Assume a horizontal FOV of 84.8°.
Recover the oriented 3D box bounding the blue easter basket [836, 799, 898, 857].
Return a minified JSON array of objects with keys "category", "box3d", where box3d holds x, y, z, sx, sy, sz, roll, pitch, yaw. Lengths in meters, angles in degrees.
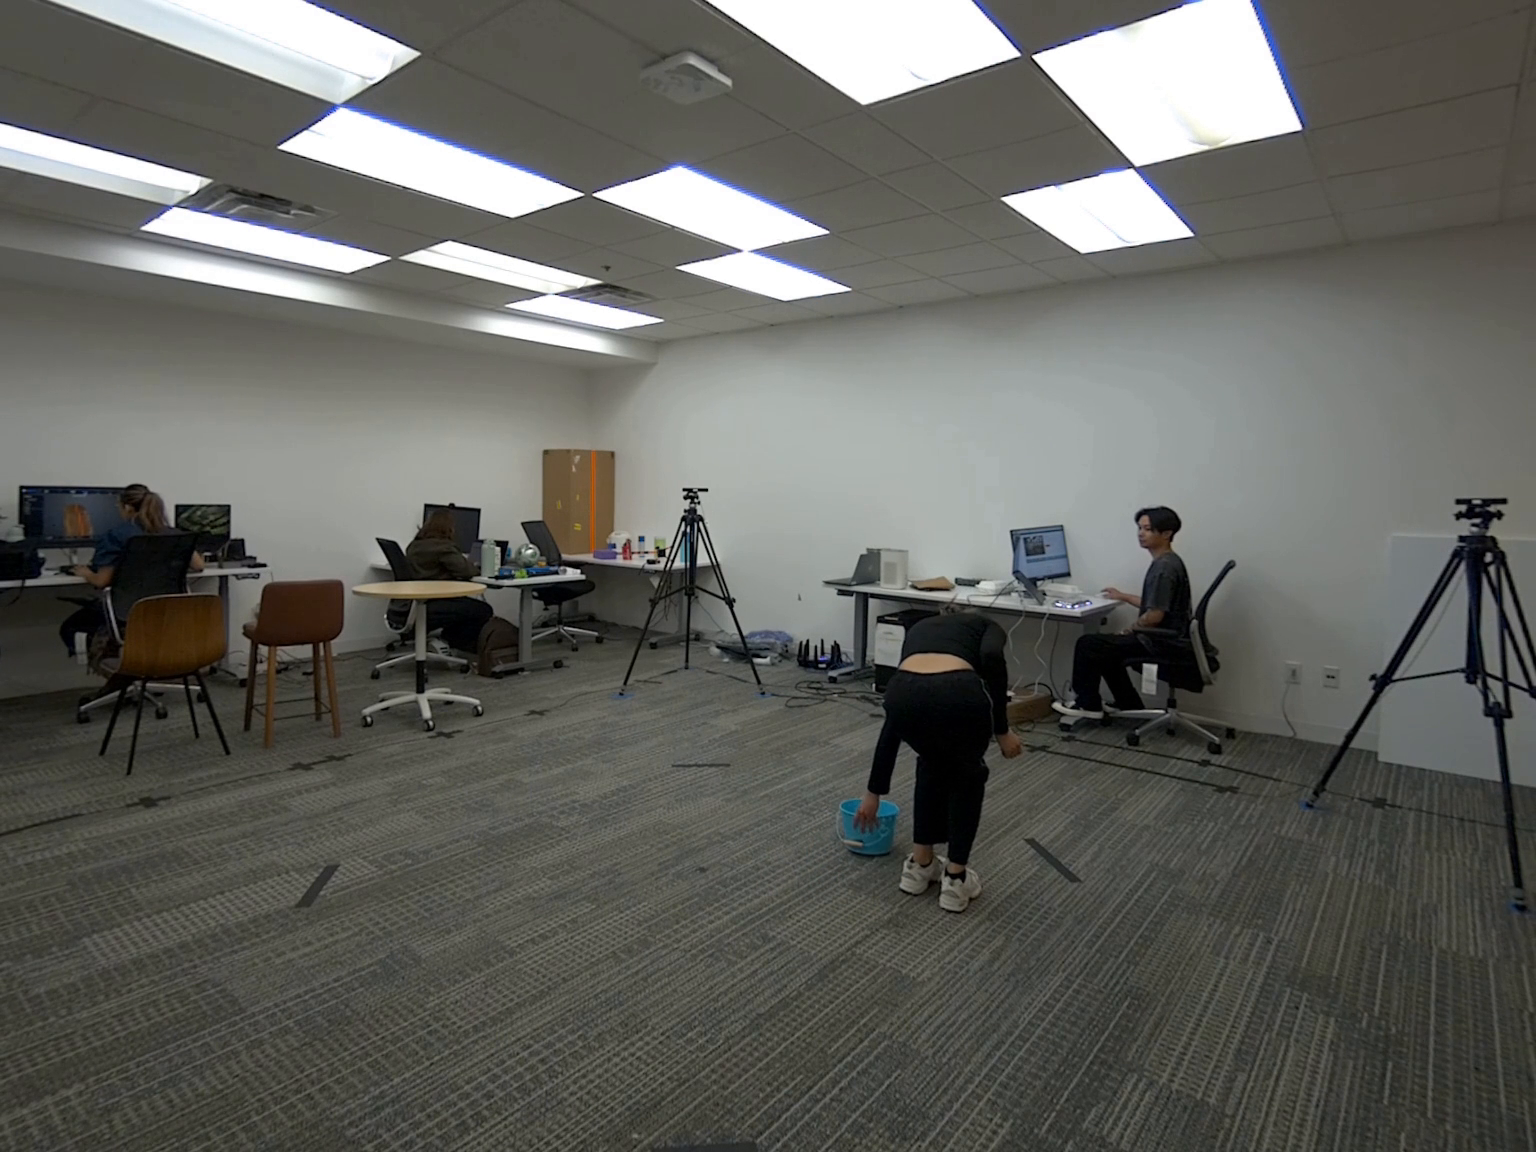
[{"category":"blue easter basket","box3d":[0.385,0.976,3.336,0.243,0.156,0.244,1,1,-2]}]
